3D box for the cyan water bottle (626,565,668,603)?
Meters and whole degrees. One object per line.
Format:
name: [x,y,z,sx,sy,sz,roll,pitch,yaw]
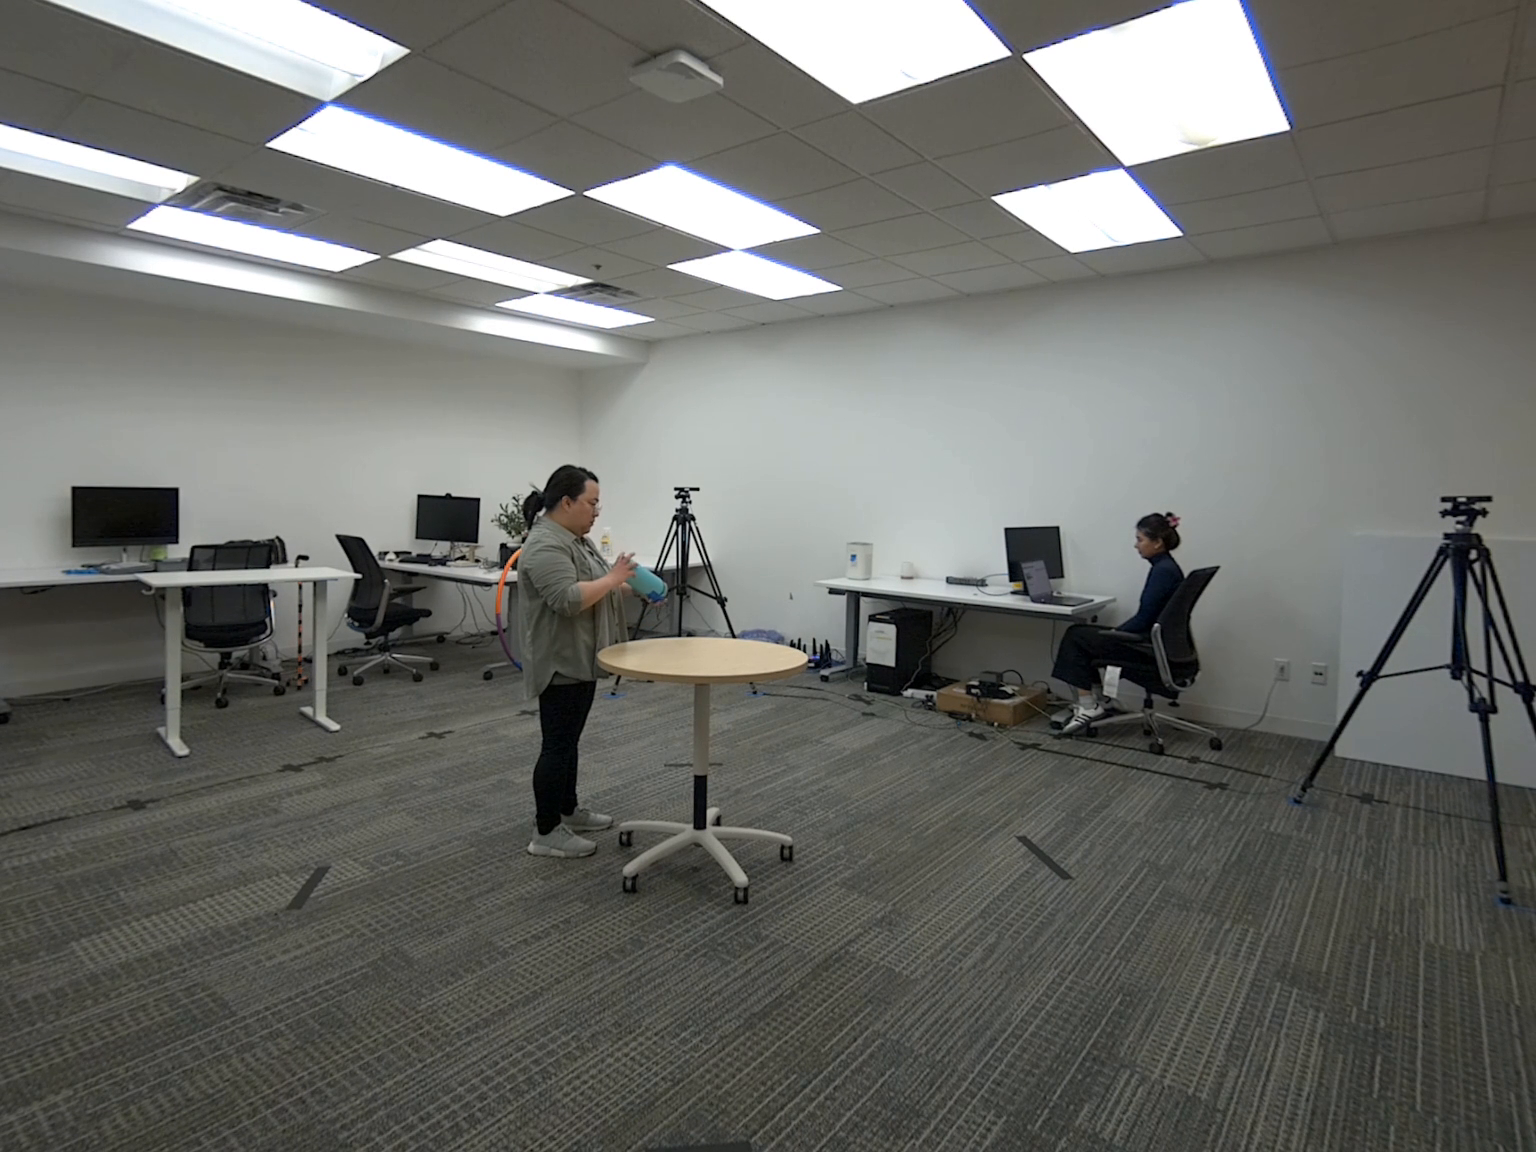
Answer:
cyan water bottle: [-0.507,0.016,3.345,0.095,0.093,0.271,4,-25,40]
